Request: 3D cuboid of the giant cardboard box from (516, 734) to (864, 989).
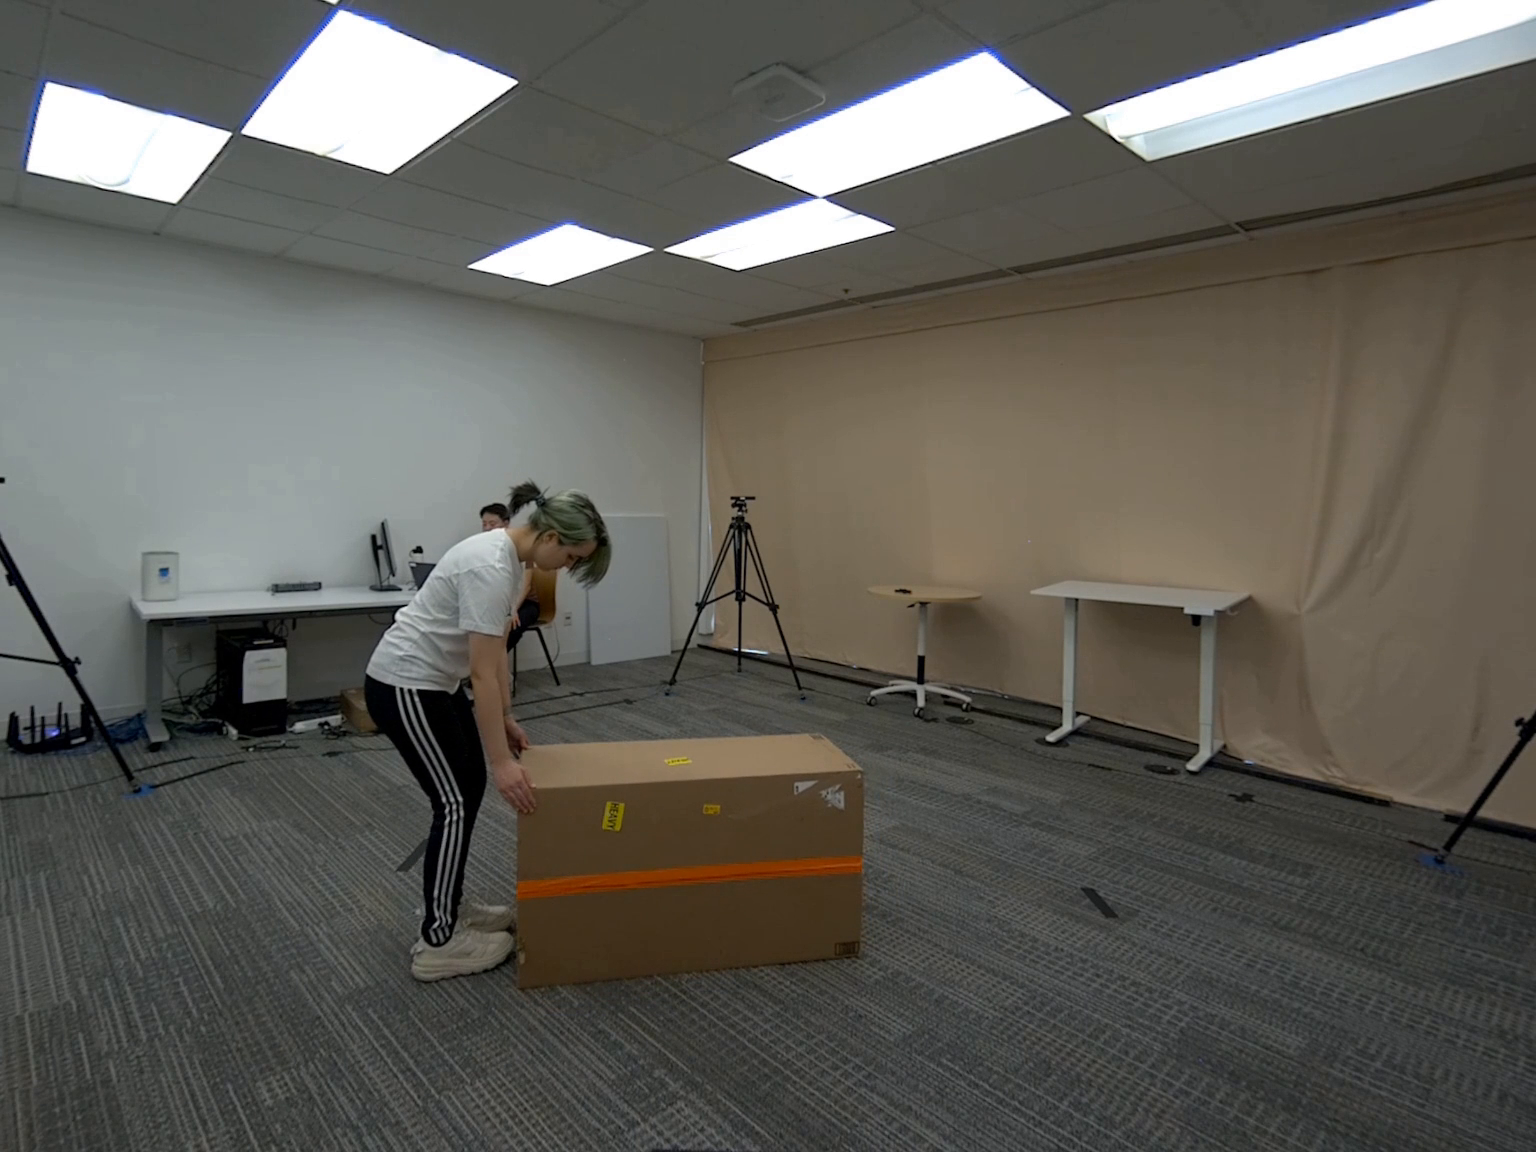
[{"bbox_3d":[-0.261,0.856,2.648,1.016,0.582,0.453,0,5,-13],"label":"giant cardboard box"}]
